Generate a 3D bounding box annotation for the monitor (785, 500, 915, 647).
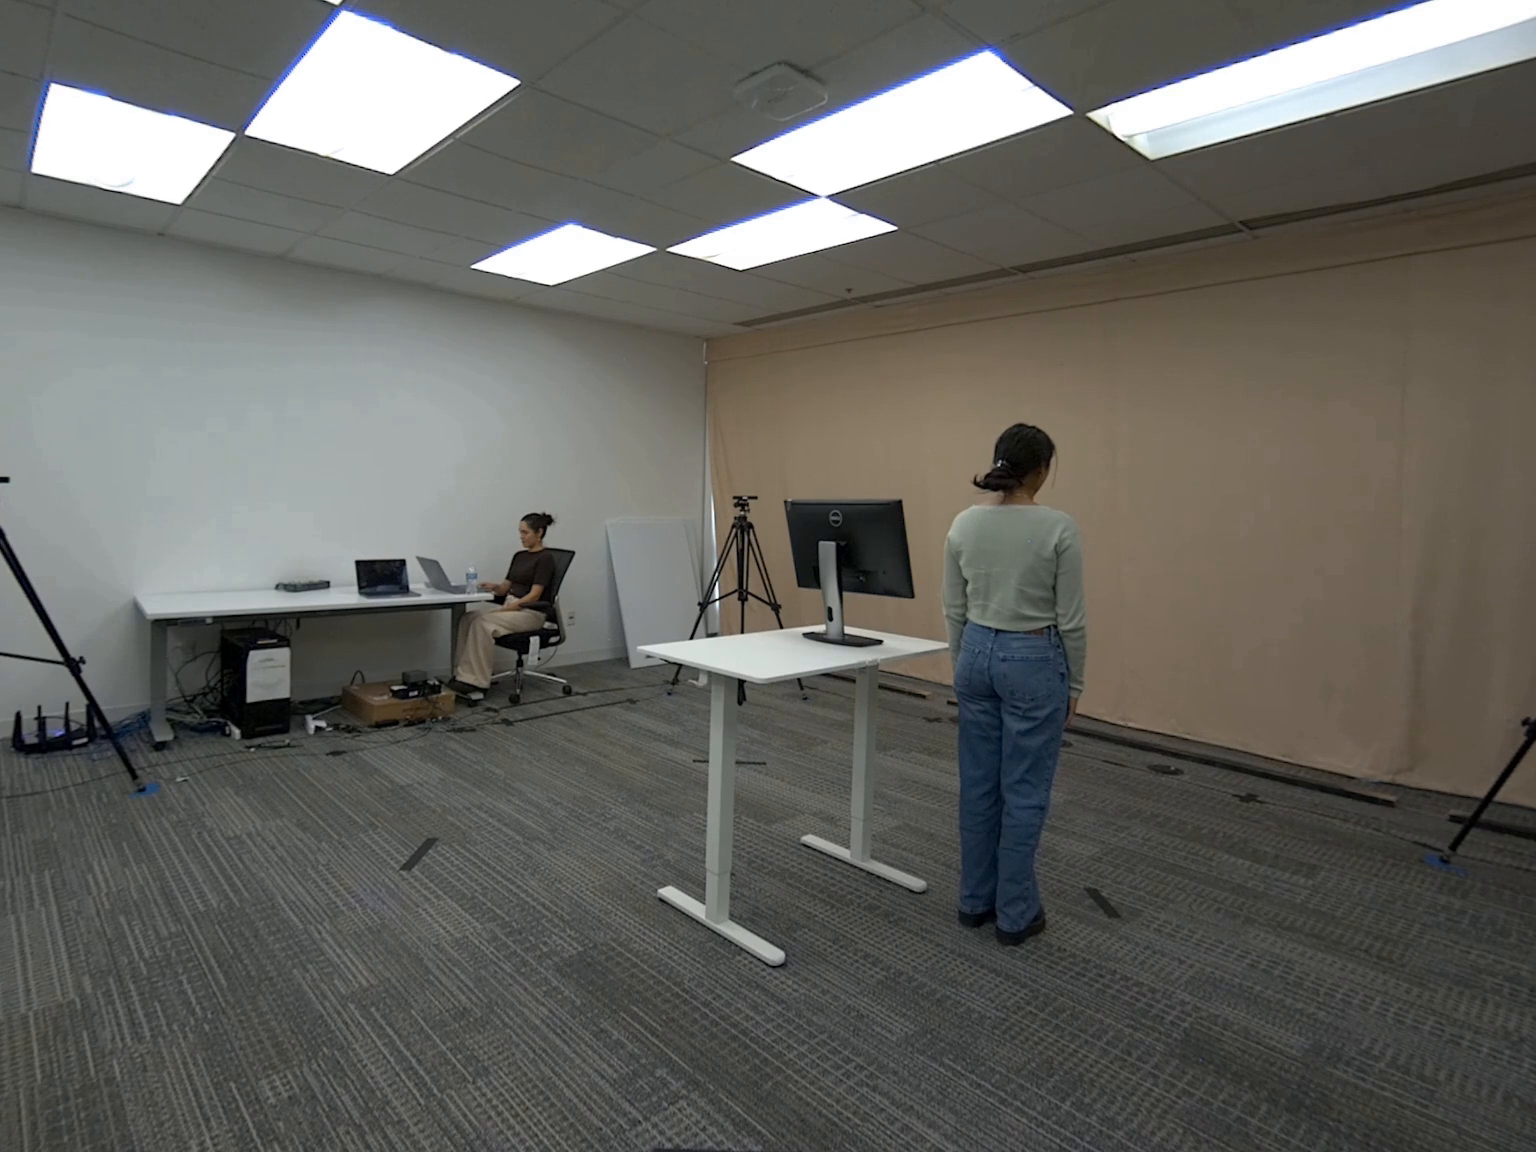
[{"bbox_3d":[0.250,-0.014,3.041,0.183,0.521,0.553,-5,7,-45],"label":"monitor"}]
